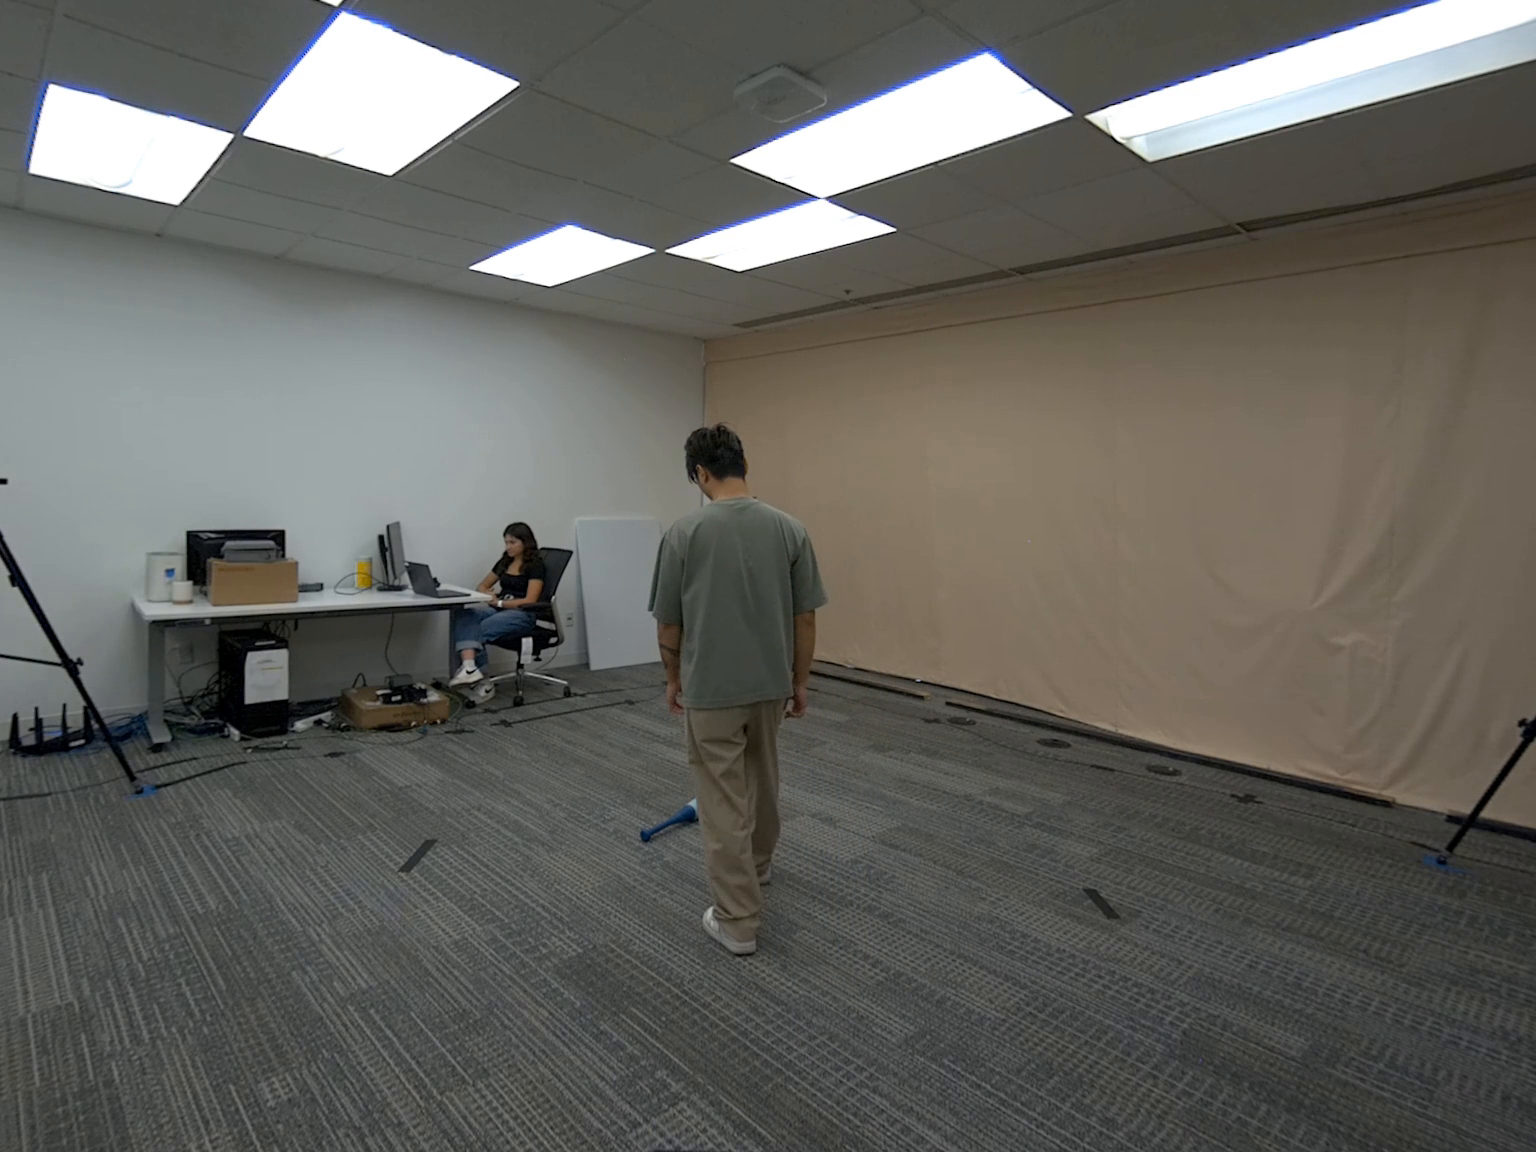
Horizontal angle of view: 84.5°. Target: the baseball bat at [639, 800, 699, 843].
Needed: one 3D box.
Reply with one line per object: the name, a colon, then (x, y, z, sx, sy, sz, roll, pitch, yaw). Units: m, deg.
baseball bat: (-0.356, 1.021, 3.606, 0.091, 0.089, 0.532, 4, 8, 35)
